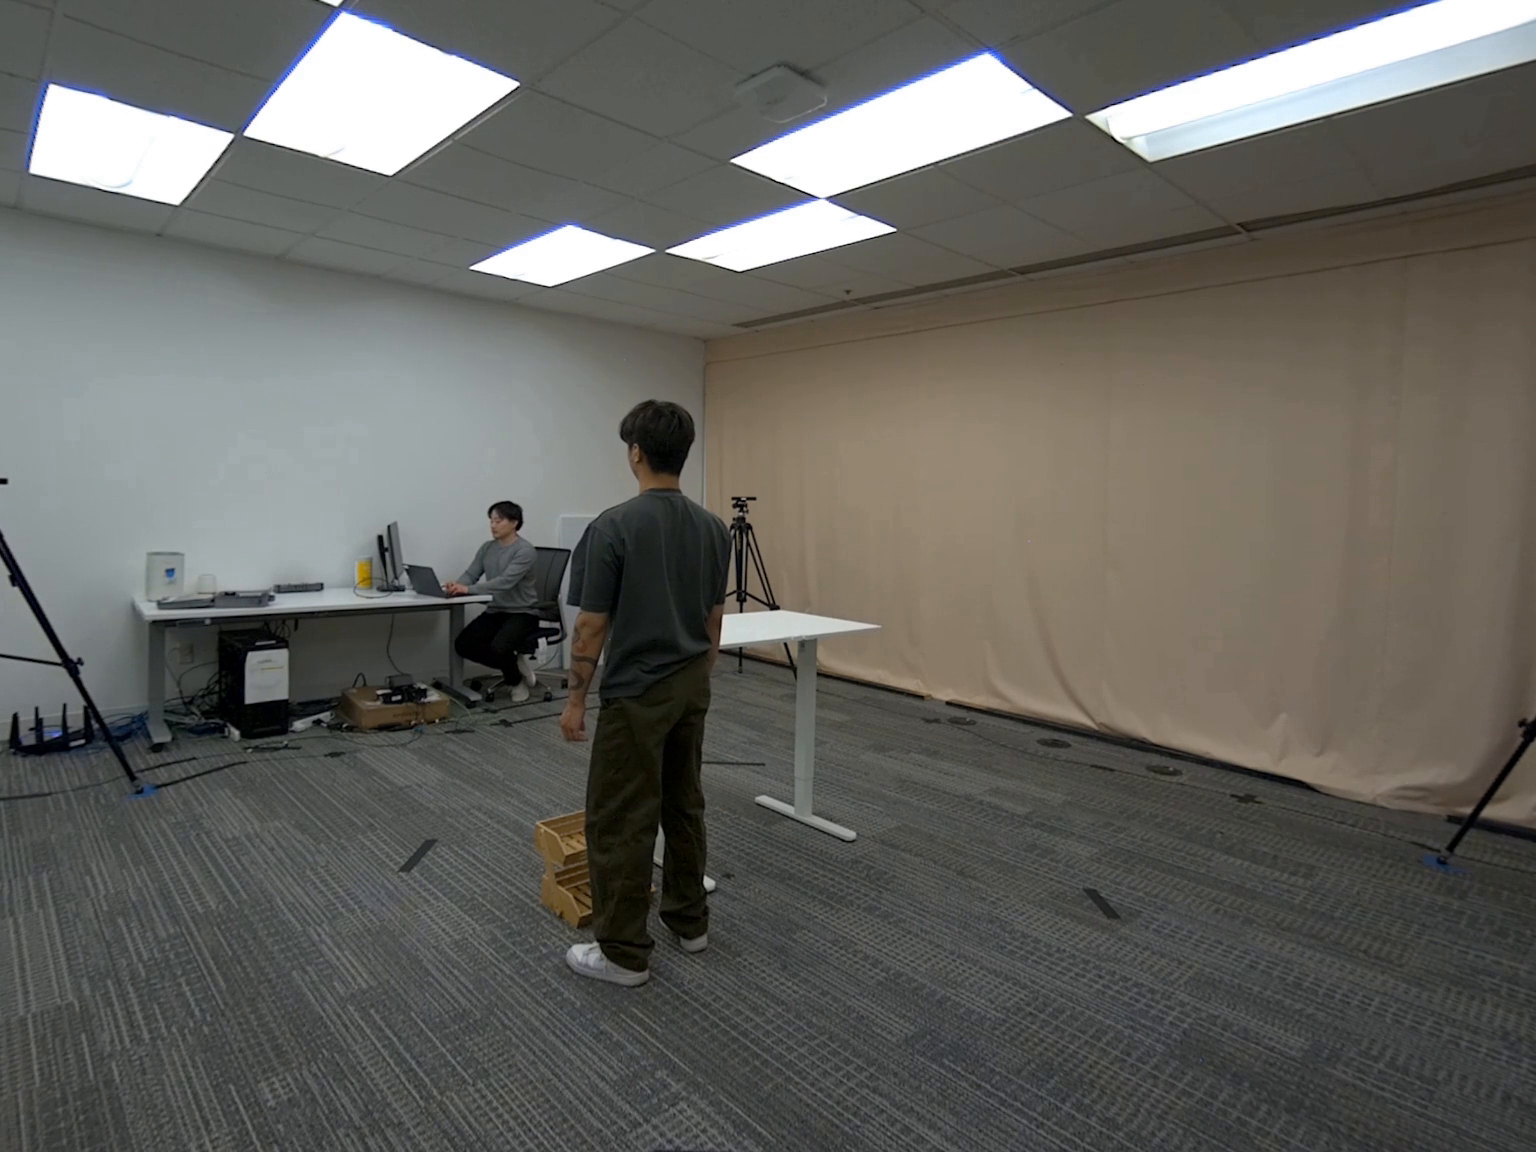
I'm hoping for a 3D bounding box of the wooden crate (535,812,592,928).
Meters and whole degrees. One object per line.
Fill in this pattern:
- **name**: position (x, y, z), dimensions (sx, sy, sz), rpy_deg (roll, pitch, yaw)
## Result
- **wooden crate**: position (-0.597, 0.982, 2.885), dimensions (0.317, 0.272, 0.310), rpy_deg (-3, 6, -42)
